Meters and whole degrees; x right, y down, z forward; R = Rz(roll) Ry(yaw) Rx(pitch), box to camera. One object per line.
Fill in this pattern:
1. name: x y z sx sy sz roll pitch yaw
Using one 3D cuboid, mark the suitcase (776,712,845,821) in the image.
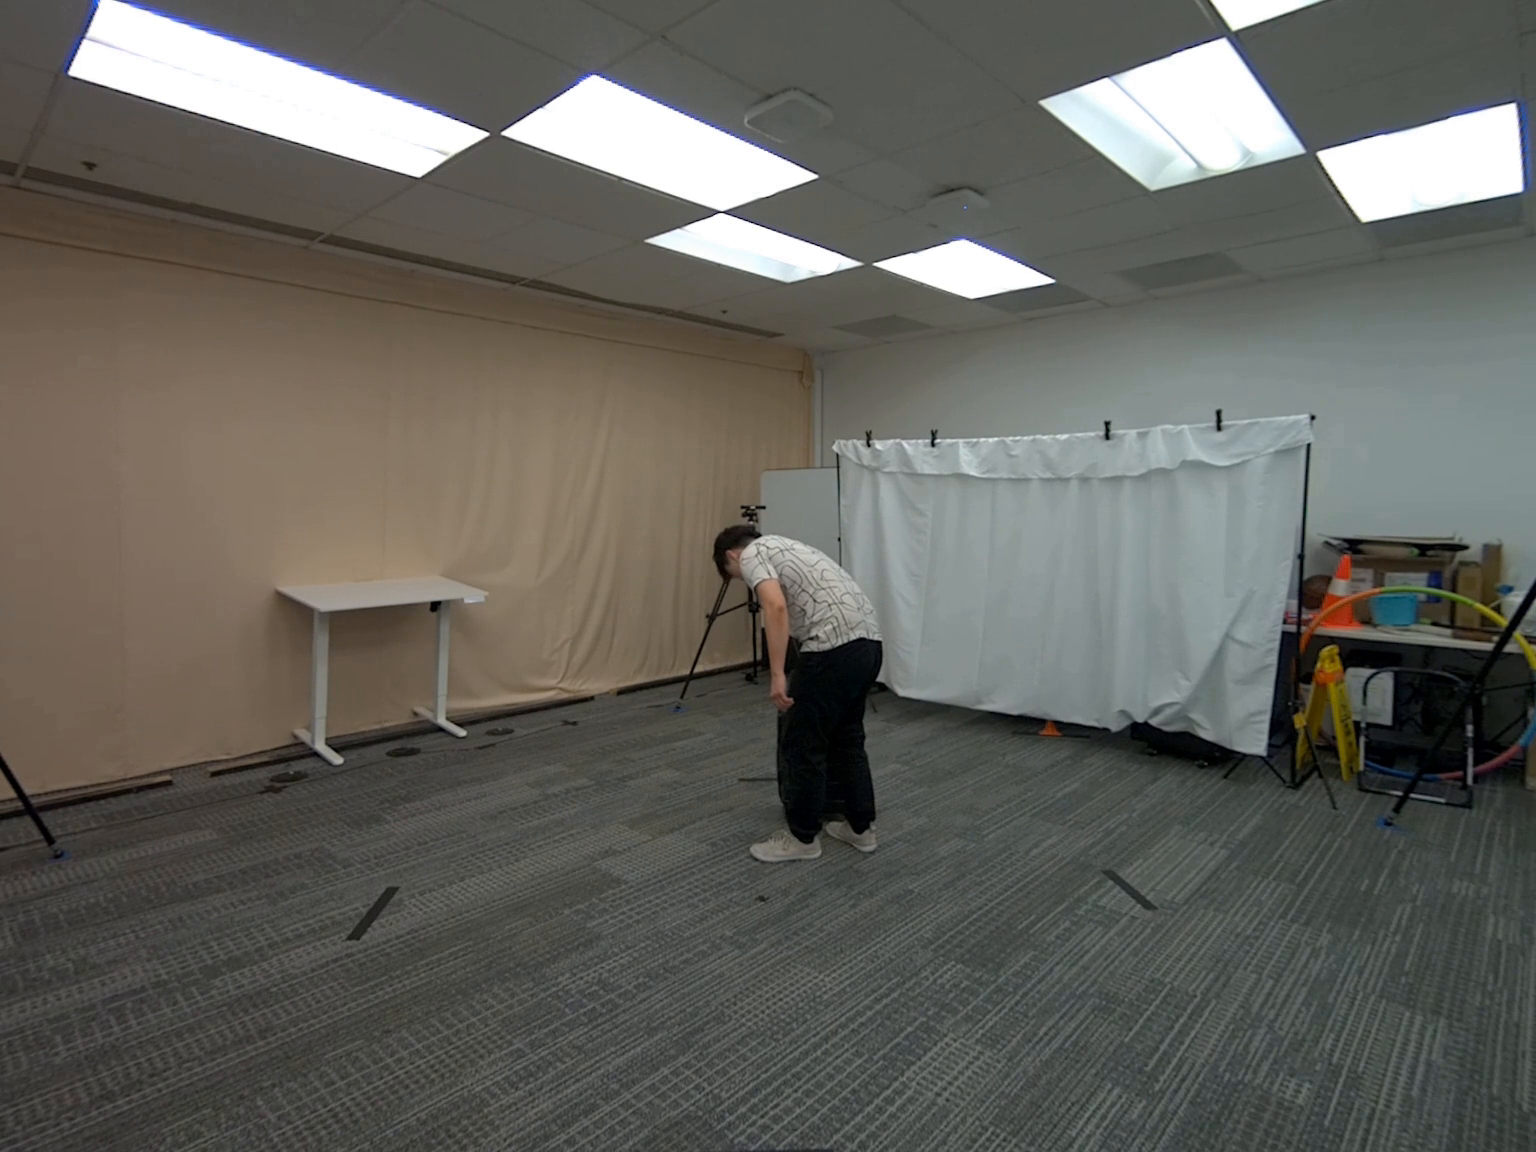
1. suitcase: 0.228 0.799 3.779 0.375 0.548 0.249 -1 2 -1
